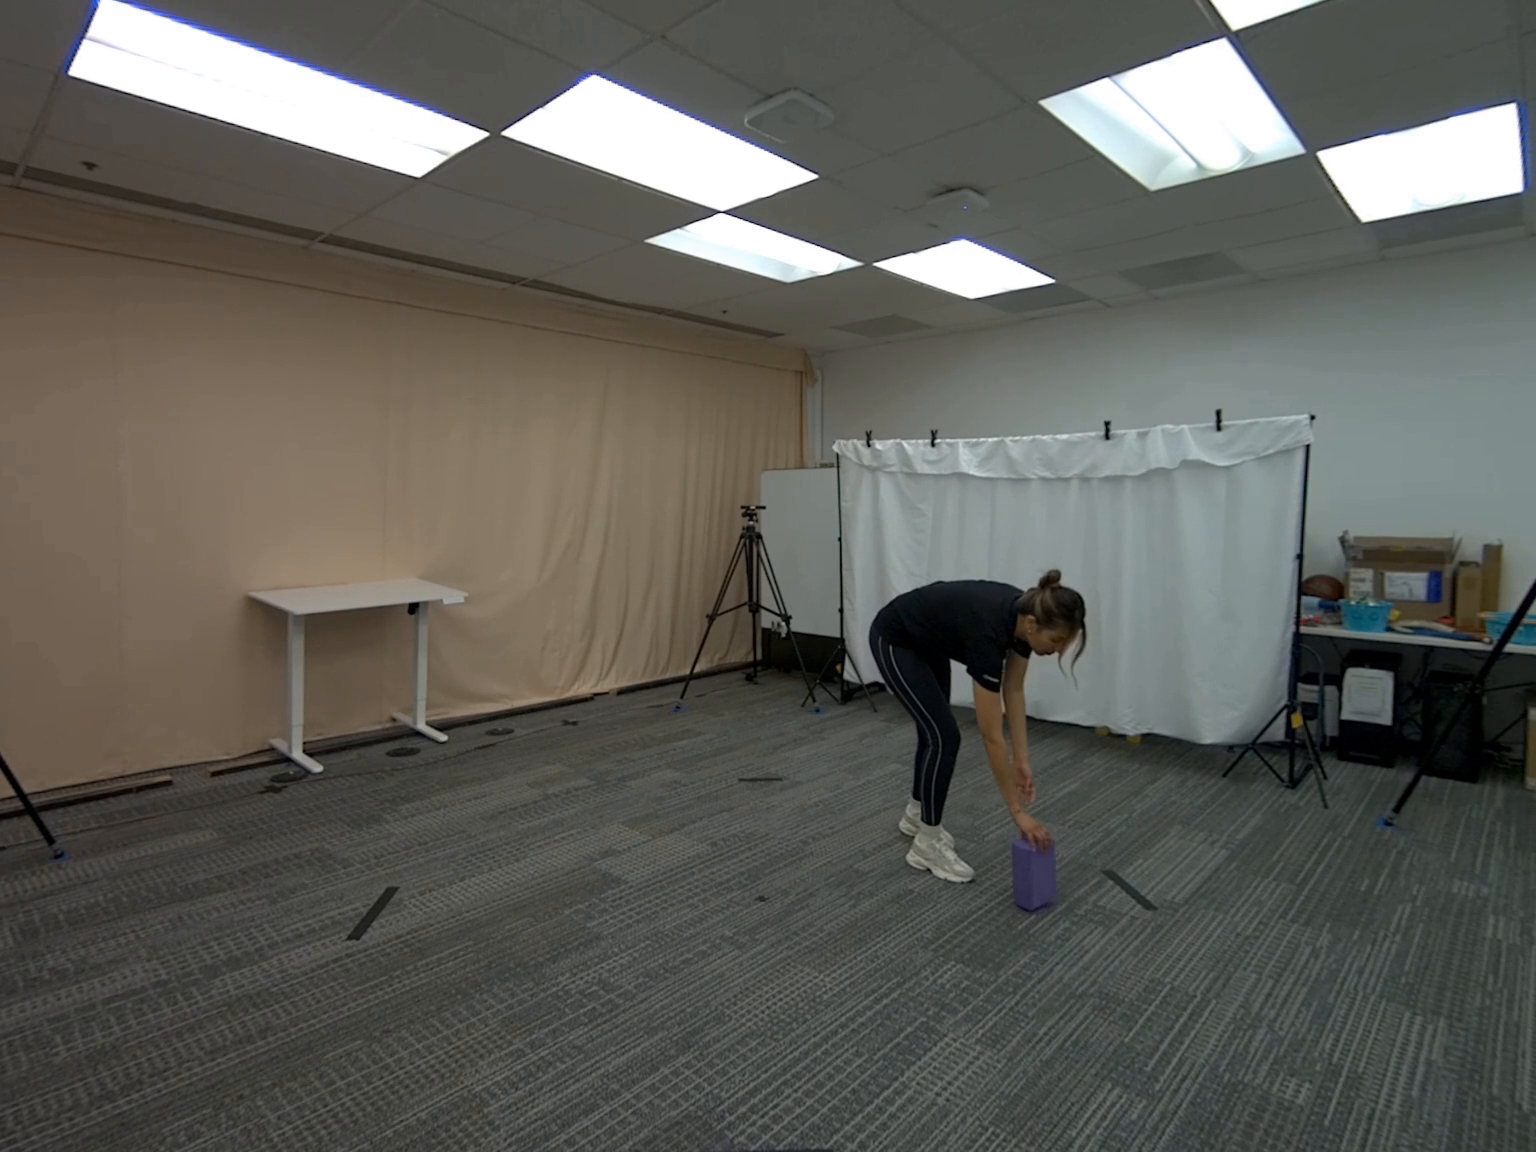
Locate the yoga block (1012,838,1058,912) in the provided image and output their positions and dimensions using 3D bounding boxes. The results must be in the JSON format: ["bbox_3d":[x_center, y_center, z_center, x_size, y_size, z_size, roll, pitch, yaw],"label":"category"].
[{"bbox_3d":[0.932,1.005,2.917,0.145,0.228,0.079,-7,7,-31],"label":"yoga block"}]
